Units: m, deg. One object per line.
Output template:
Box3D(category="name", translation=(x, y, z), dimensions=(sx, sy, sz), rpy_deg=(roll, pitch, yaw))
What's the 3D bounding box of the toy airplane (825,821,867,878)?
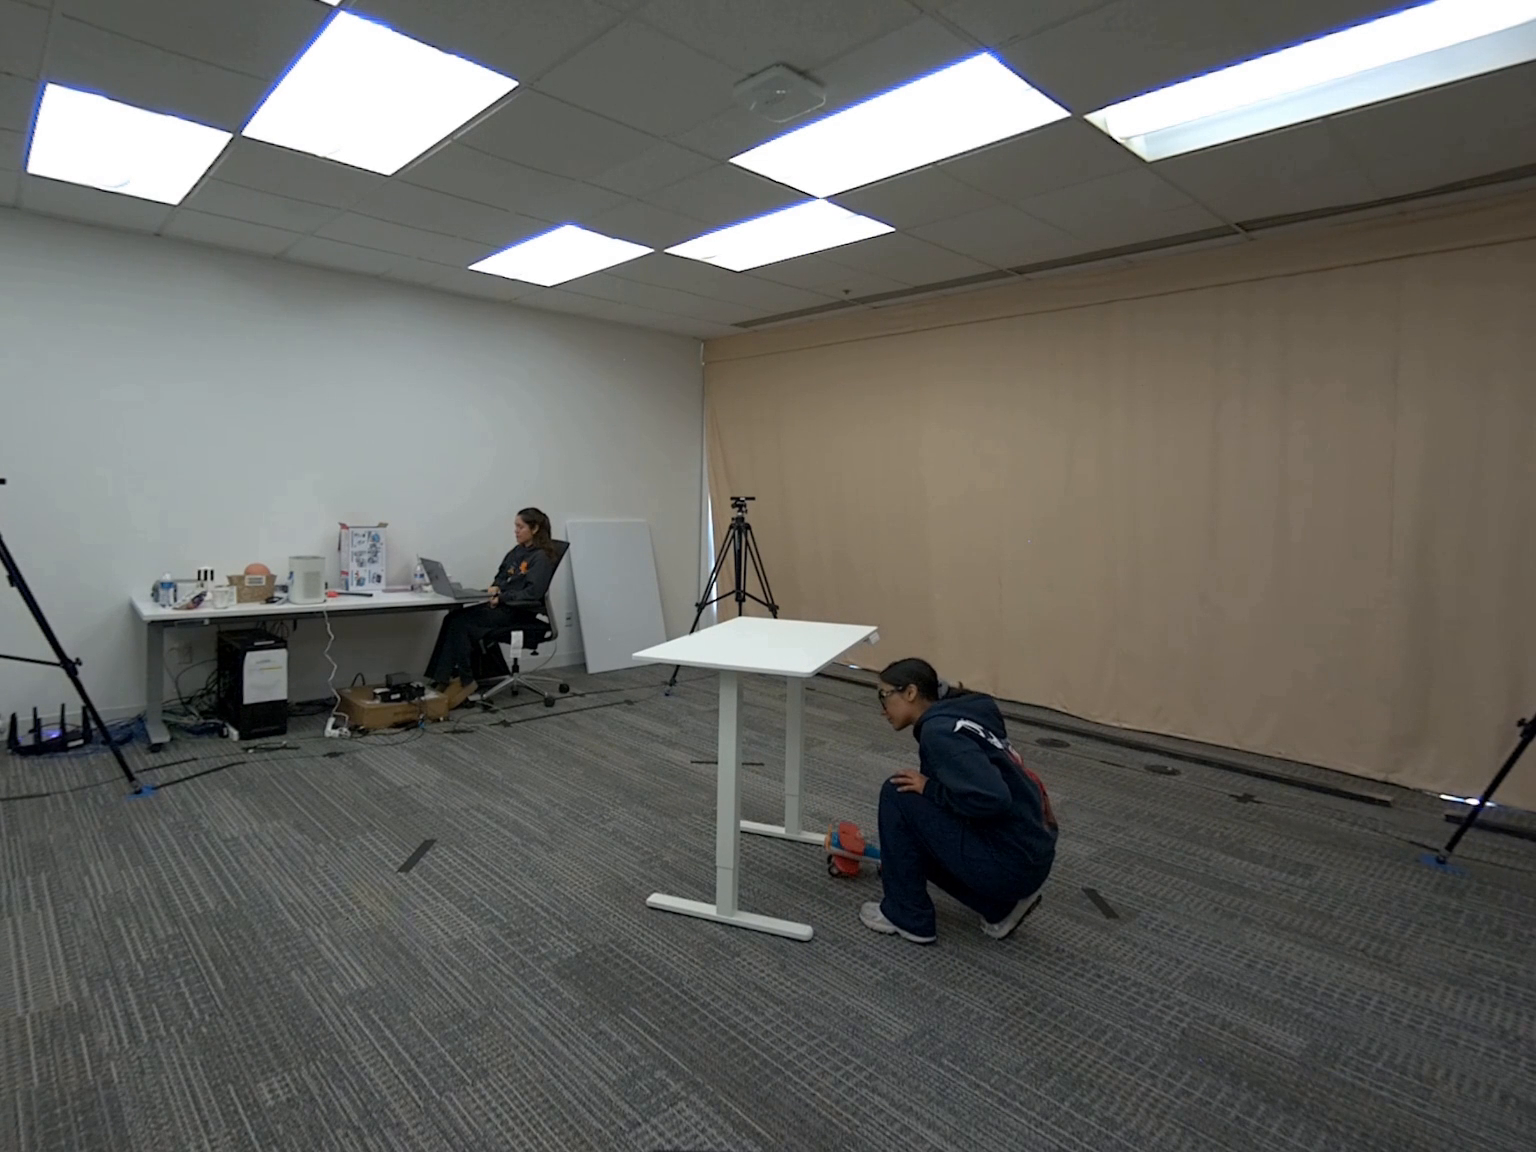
Box3D(category="toy airplane", translation=(0.333, 1.033, 3.191), dimensions=(0.254, 0.156, 0.257), rpy_deg=(-2, 7, -26))
